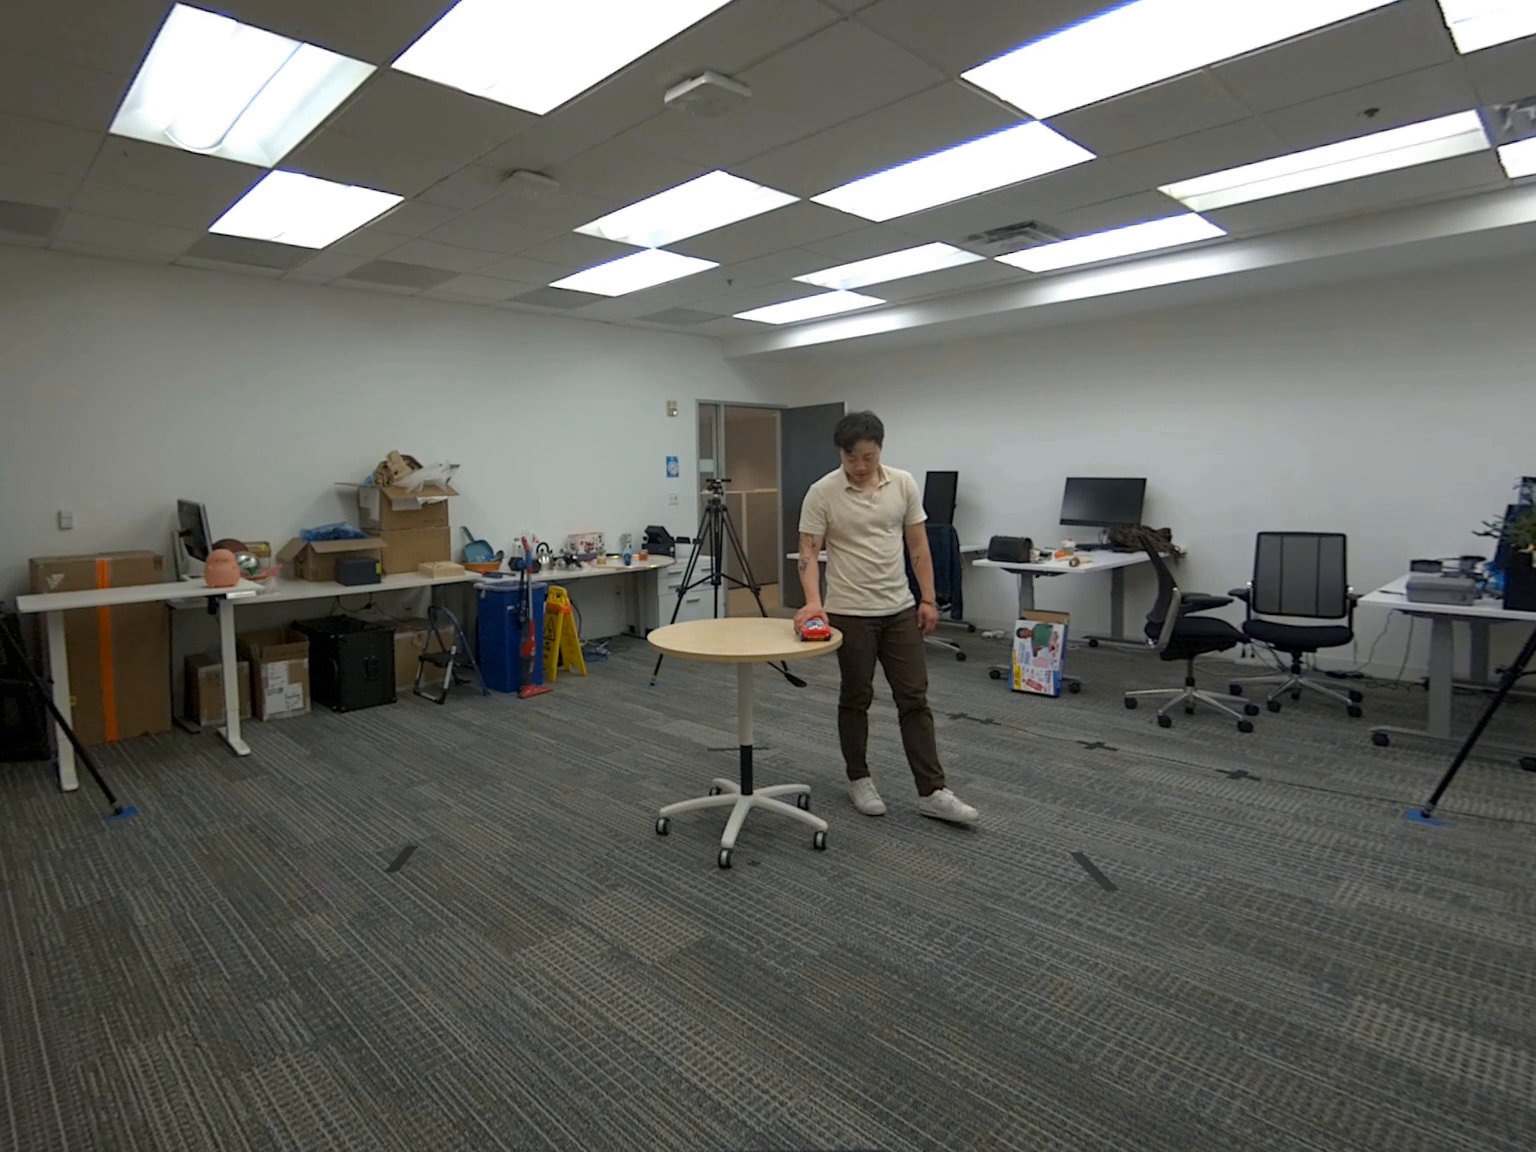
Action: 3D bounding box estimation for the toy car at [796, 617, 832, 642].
[{"bbox_3d":[0.175,0.203,3.320,0.130,0.082,0.259,-2,18,-3],"label":"toy car"}]
